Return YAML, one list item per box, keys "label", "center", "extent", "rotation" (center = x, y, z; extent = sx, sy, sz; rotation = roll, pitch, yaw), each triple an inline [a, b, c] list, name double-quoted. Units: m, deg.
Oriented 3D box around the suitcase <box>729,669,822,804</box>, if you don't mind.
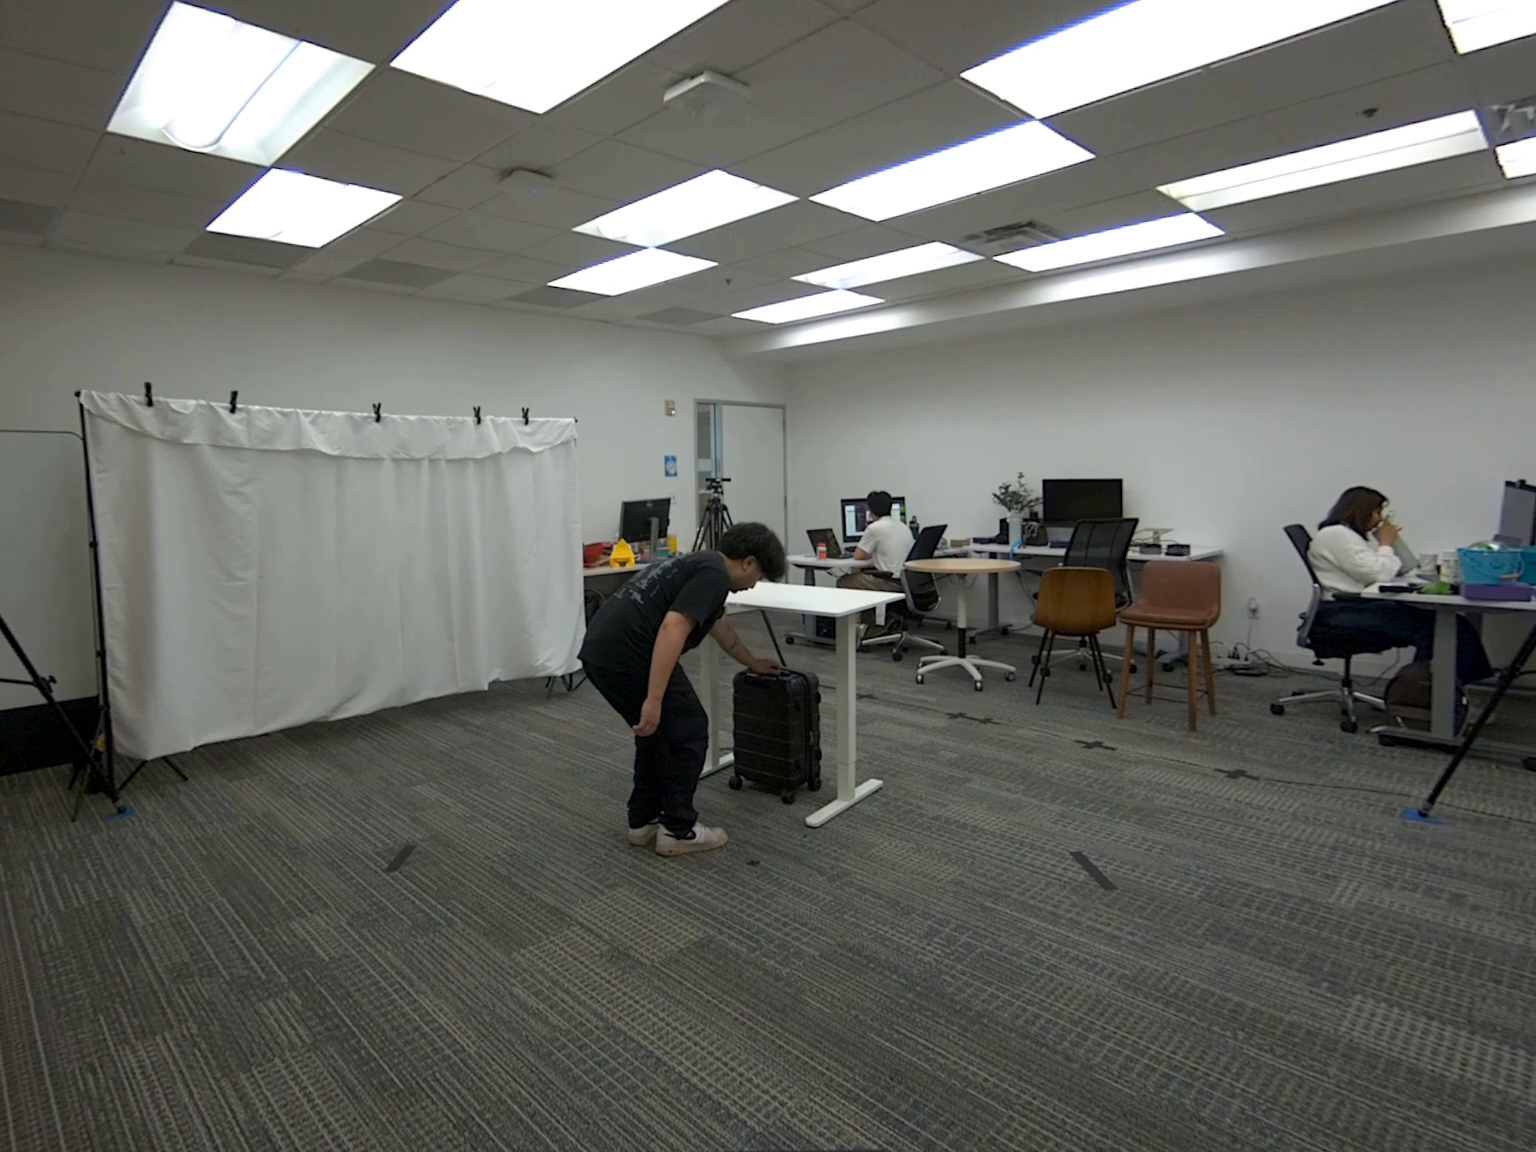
- label: "suitcase"
  center: [0.033, 0.684, 3.848]
  extent: [0.386, 0.548, 0.241]
  rotation: [2, 3, 39]
